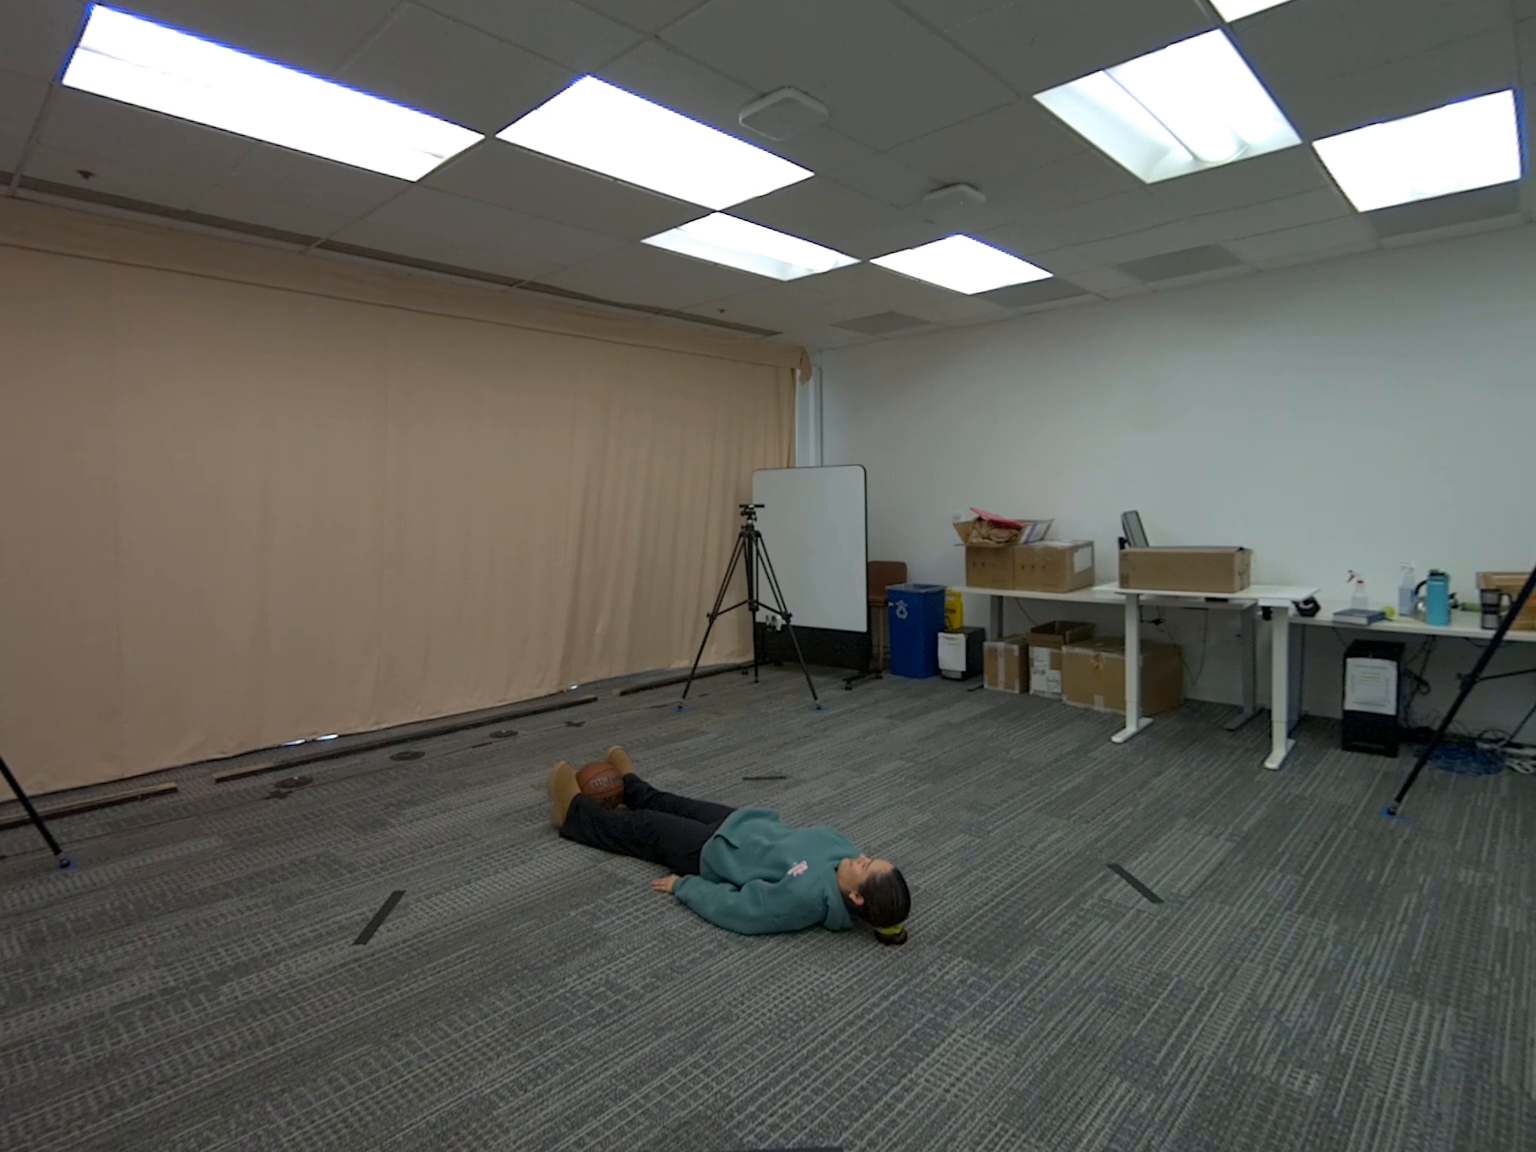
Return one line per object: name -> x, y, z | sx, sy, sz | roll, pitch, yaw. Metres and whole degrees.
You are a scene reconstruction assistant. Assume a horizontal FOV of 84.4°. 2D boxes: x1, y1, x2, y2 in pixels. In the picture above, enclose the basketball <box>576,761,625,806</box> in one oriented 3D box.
basketball -> -0.766, 0.953, 3.762 | 0.236, 0.235, 0.237 | 0, 4, -2
